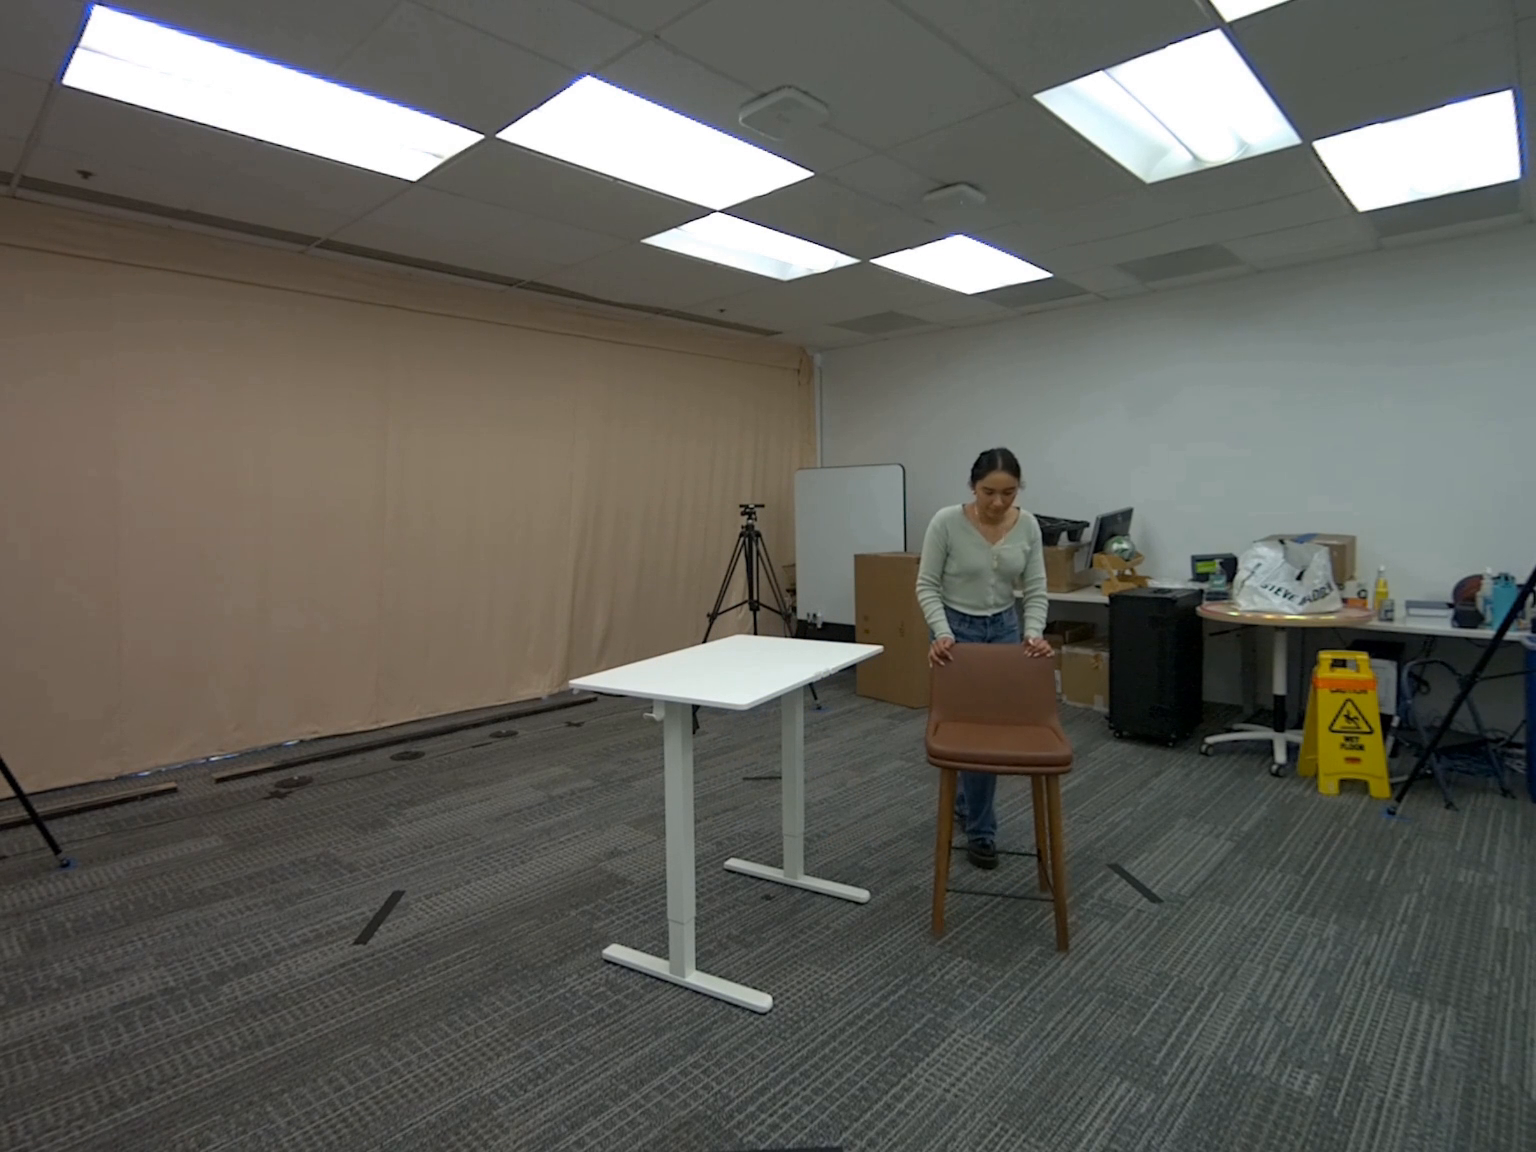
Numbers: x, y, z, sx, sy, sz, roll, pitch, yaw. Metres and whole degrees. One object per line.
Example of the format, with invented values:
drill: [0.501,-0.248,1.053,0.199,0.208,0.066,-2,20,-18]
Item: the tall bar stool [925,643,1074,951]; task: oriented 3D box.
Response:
tall bar stool: [0.773,0.702,2.836,0.464,0.889,0.460,1,1,15]
